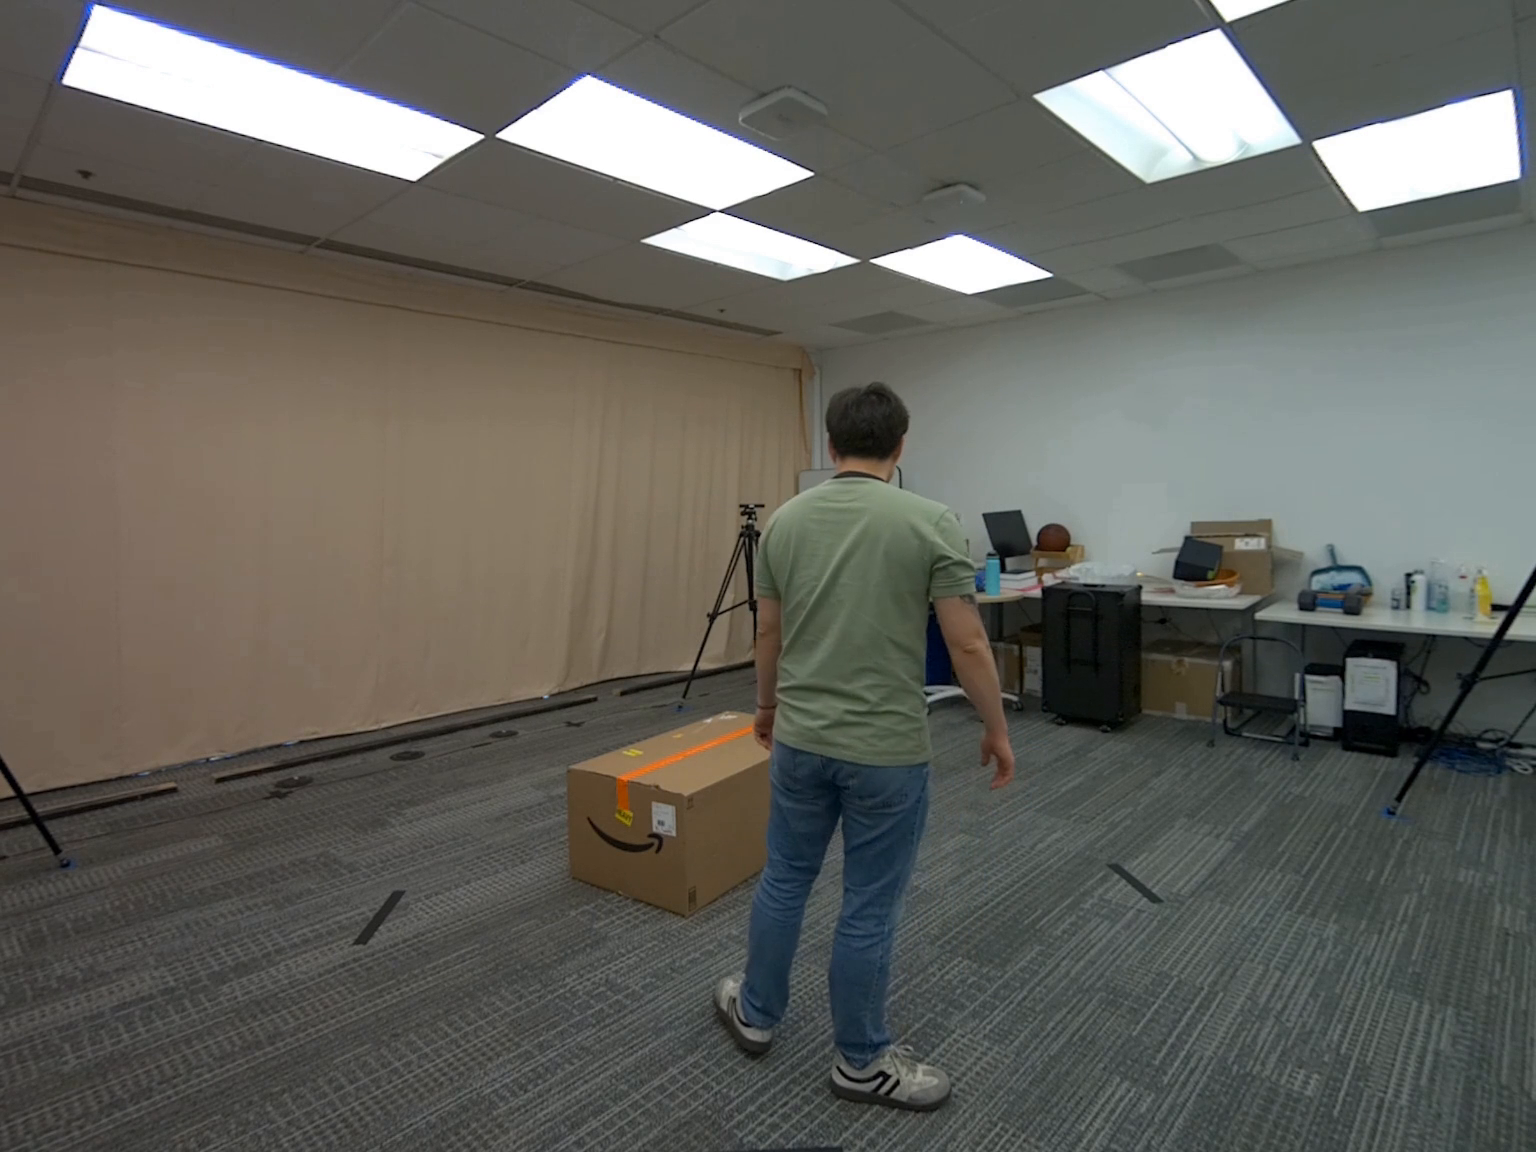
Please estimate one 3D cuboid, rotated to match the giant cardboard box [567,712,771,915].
[{"bbox_3d":[-0.230,0.893,3.405,0.595,0.425,0.997,1,5,35],"label":"giant cardboard box"}]
